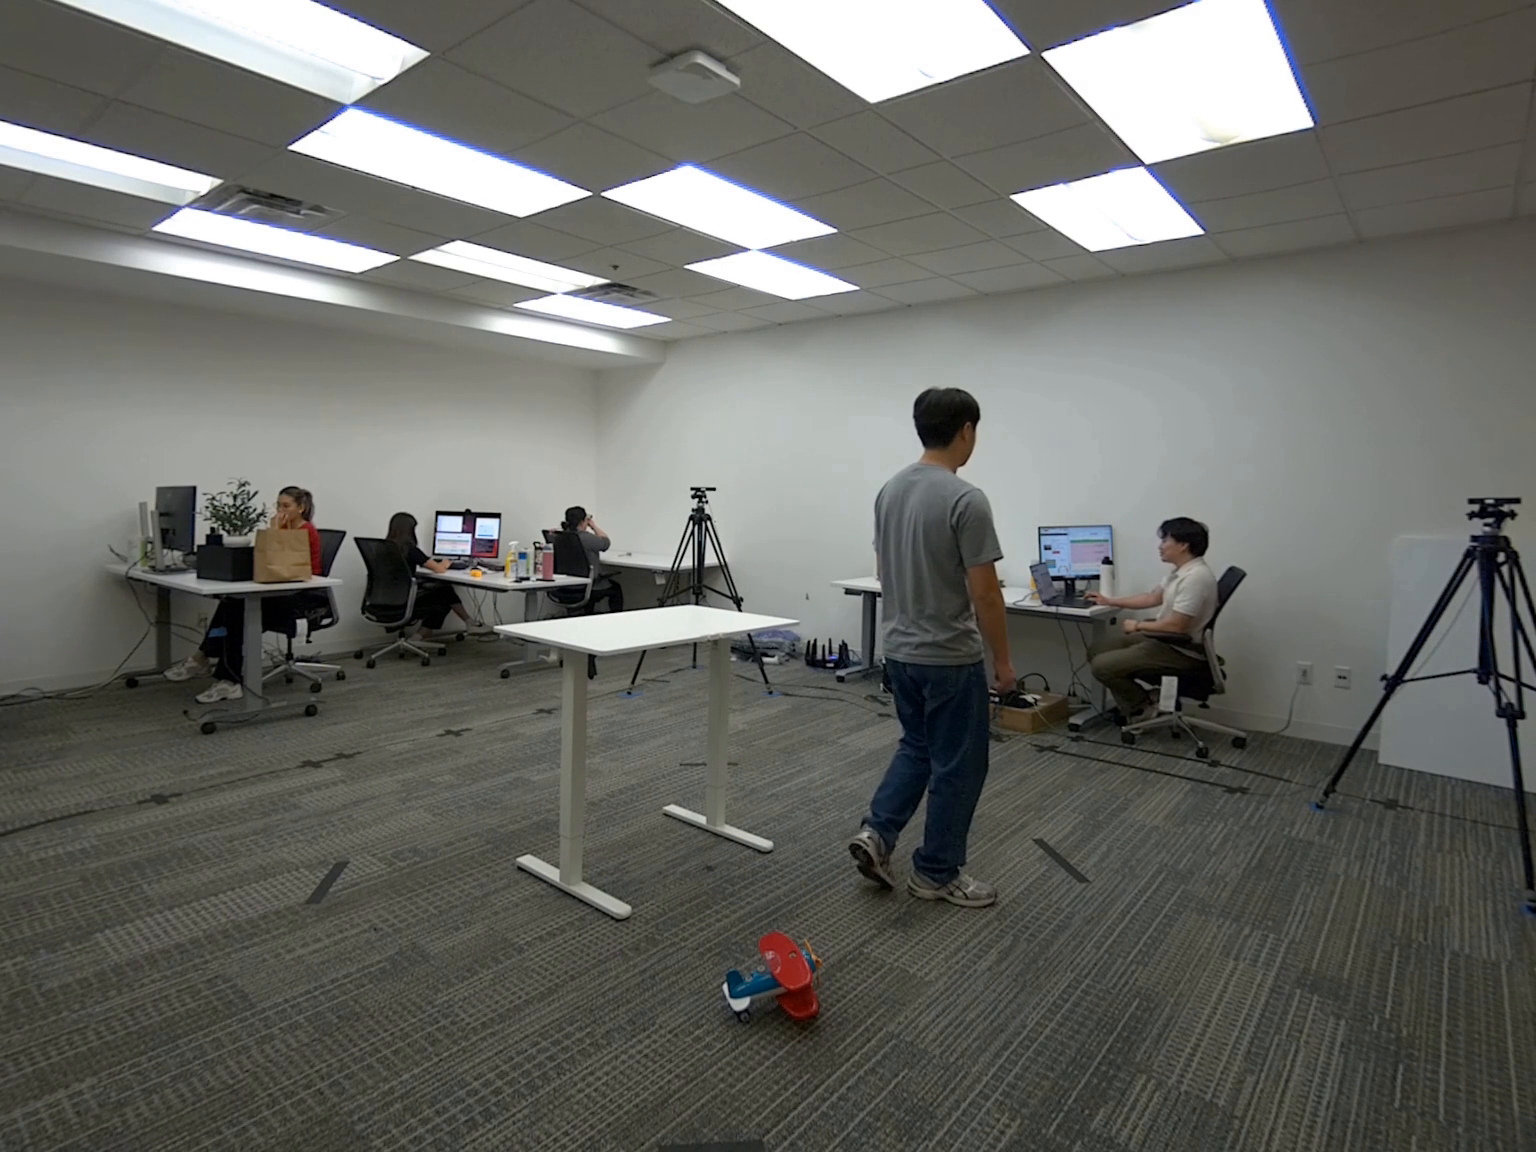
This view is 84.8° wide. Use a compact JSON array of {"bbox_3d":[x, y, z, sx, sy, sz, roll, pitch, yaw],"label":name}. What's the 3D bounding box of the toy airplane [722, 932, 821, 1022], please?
[{"bbox_3d":[0.020,1.086,2.239,0.260,0.156,0.251,6,6,42],"label":"toy airplane"}]
